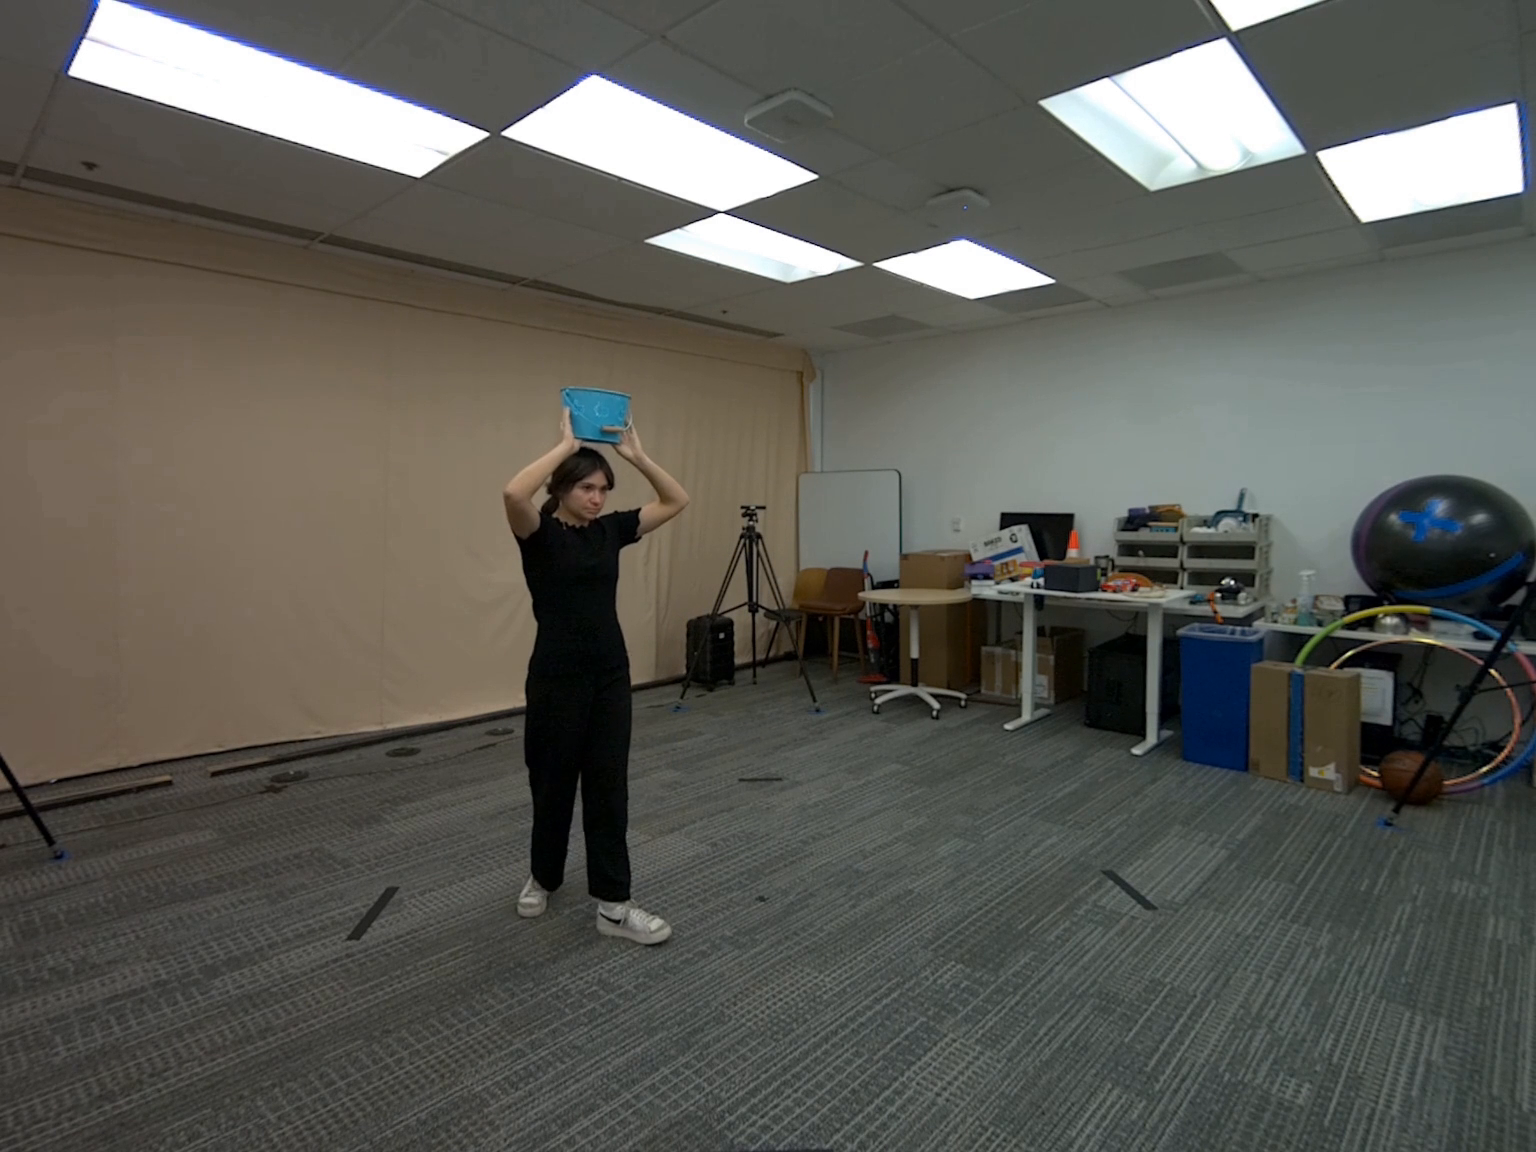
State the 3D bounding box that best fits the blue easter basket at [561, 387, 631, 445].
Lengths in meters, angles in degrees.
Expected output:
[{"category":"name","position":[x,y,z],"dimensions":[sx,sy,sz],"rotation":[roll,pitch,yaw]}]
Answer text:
[{"category":"blue easter basket","position":[-0.577,-0.514,2.704],"dimensions":[0.243,0.156,0.244],"rotation":[4,0,-2]}]
